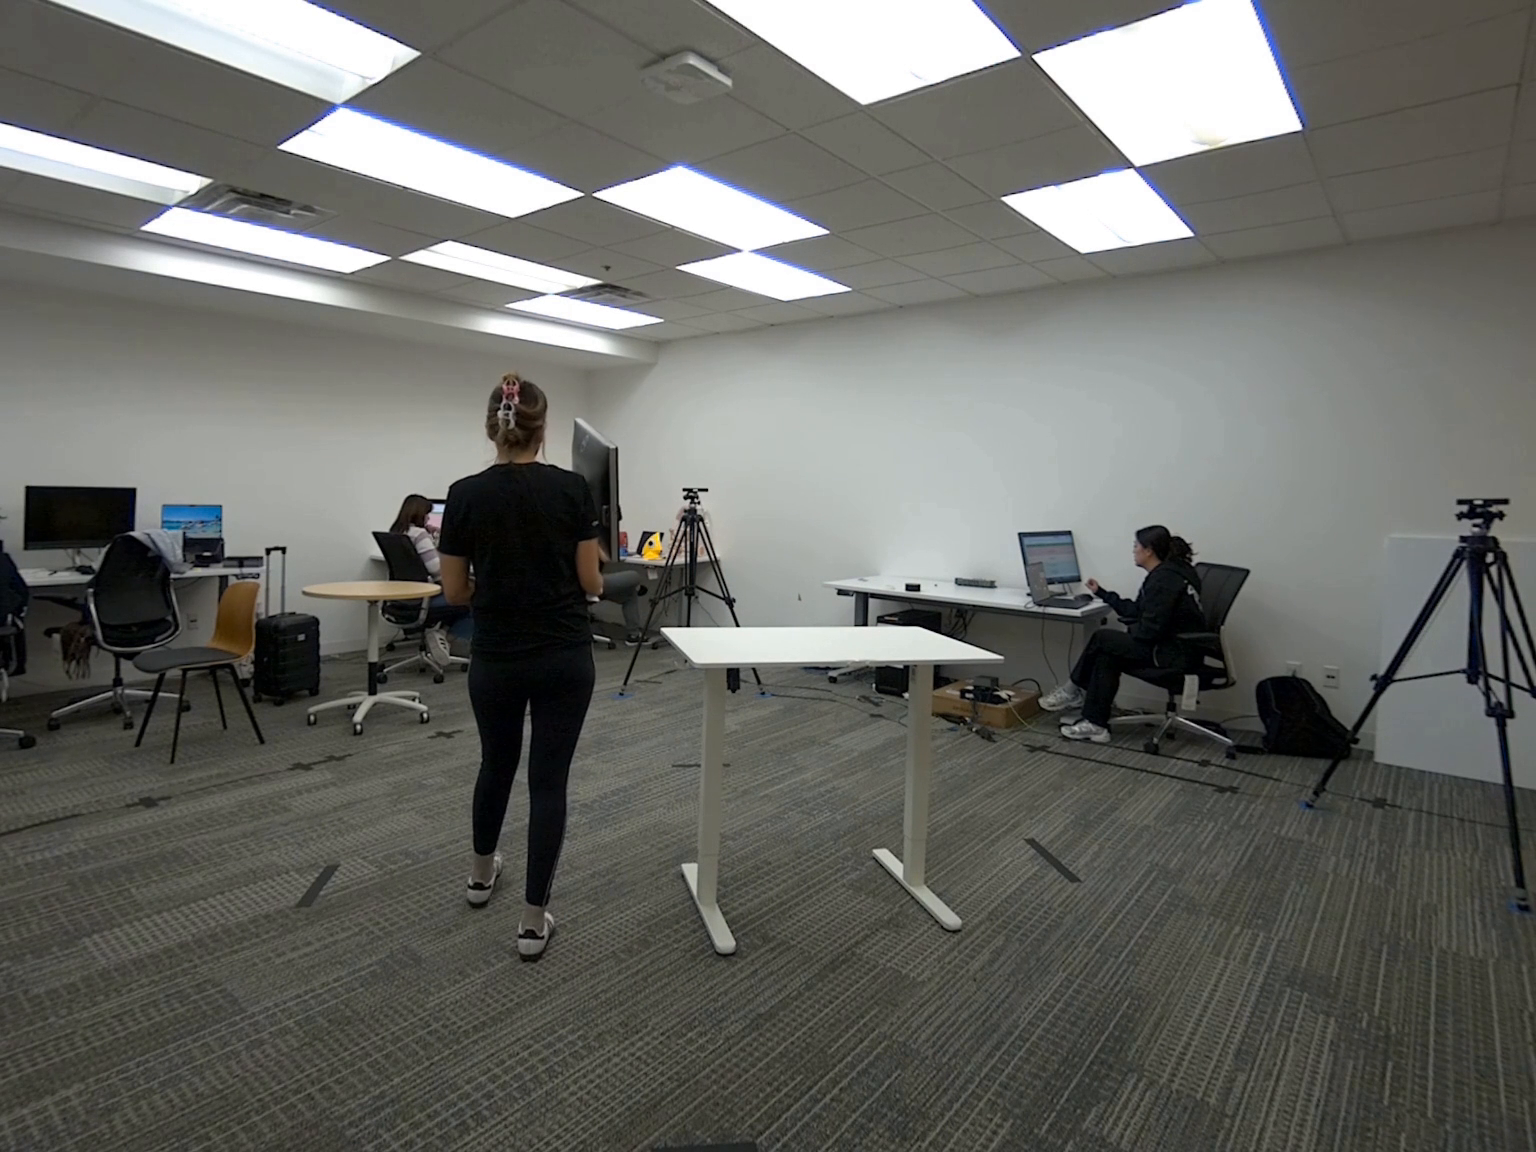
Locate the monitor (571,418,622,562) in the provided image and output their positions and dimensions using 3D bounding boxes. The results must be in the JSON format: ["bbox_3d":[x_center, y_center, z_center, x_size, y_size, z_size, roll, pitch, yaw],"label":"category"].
[{"bbox_3d":[-0.632,-0.220,2.813,0.182,0.518,0.559,7,14,-28],"label":"monitor"}]
